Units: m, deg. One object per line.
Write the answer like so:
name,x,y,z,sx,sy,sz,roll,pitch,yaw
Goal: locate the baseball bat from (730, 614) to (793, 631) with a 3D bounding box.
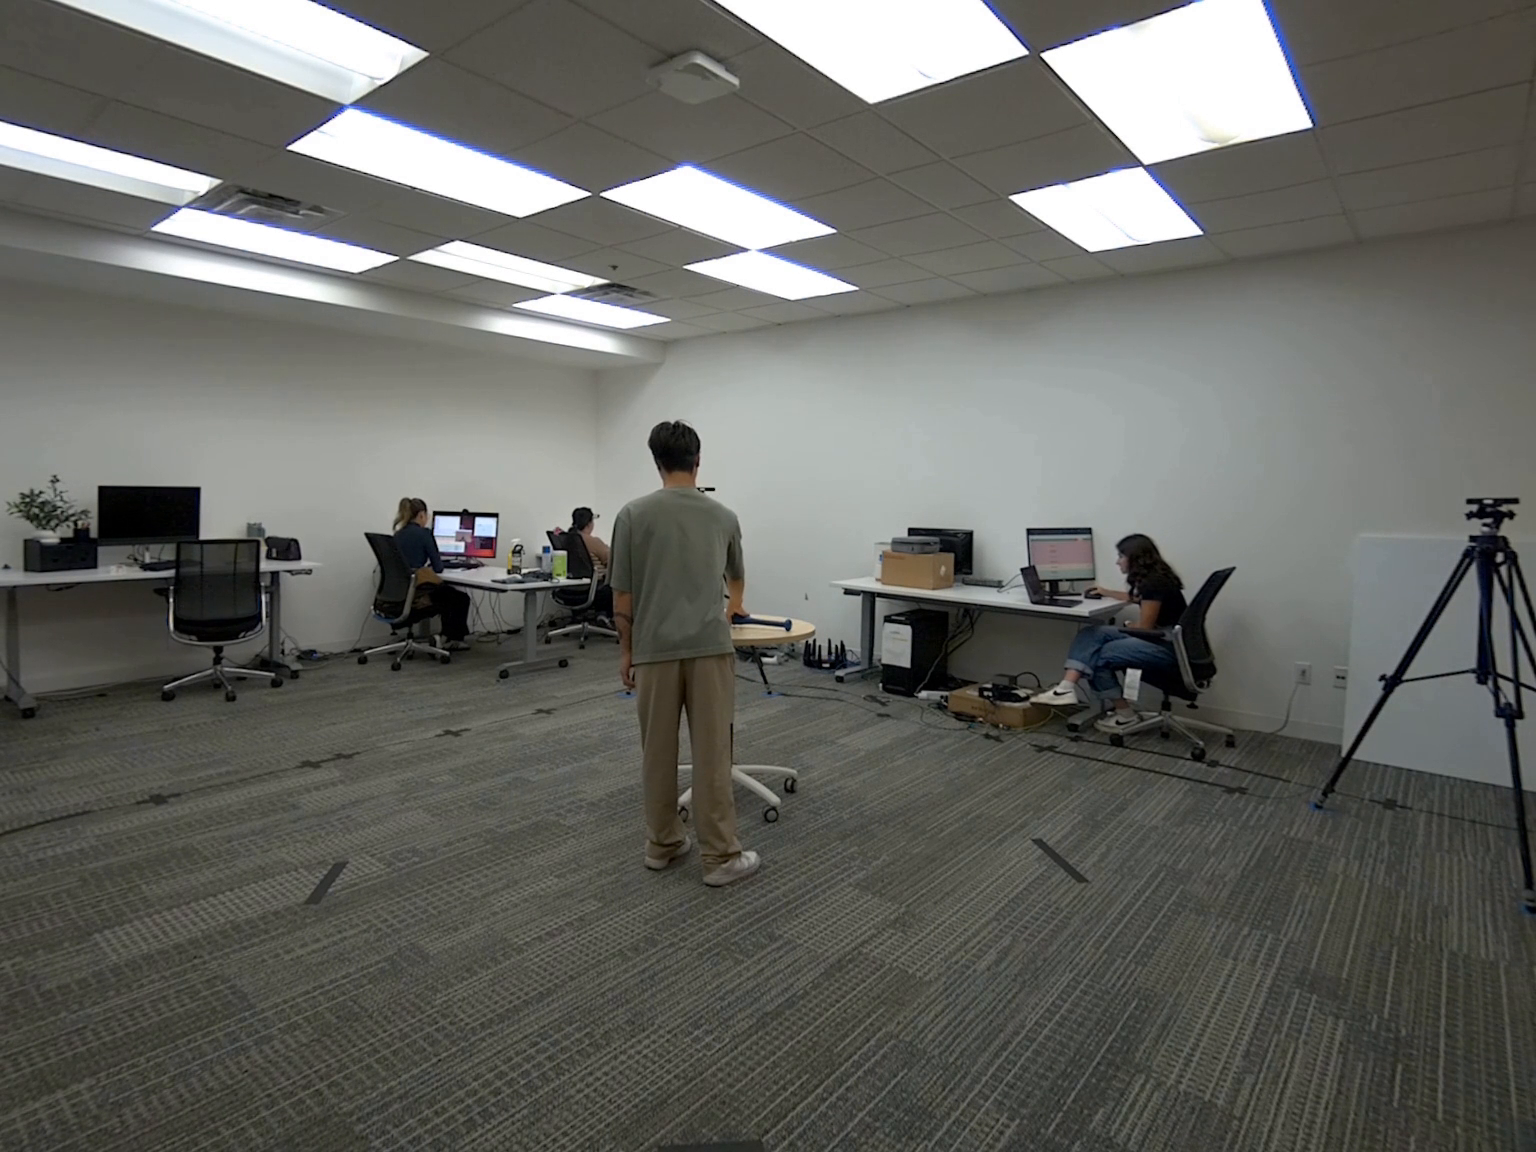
baseball bat,-0.167,0.185,3.743,0.555,0.089,0.087,6,5,19
